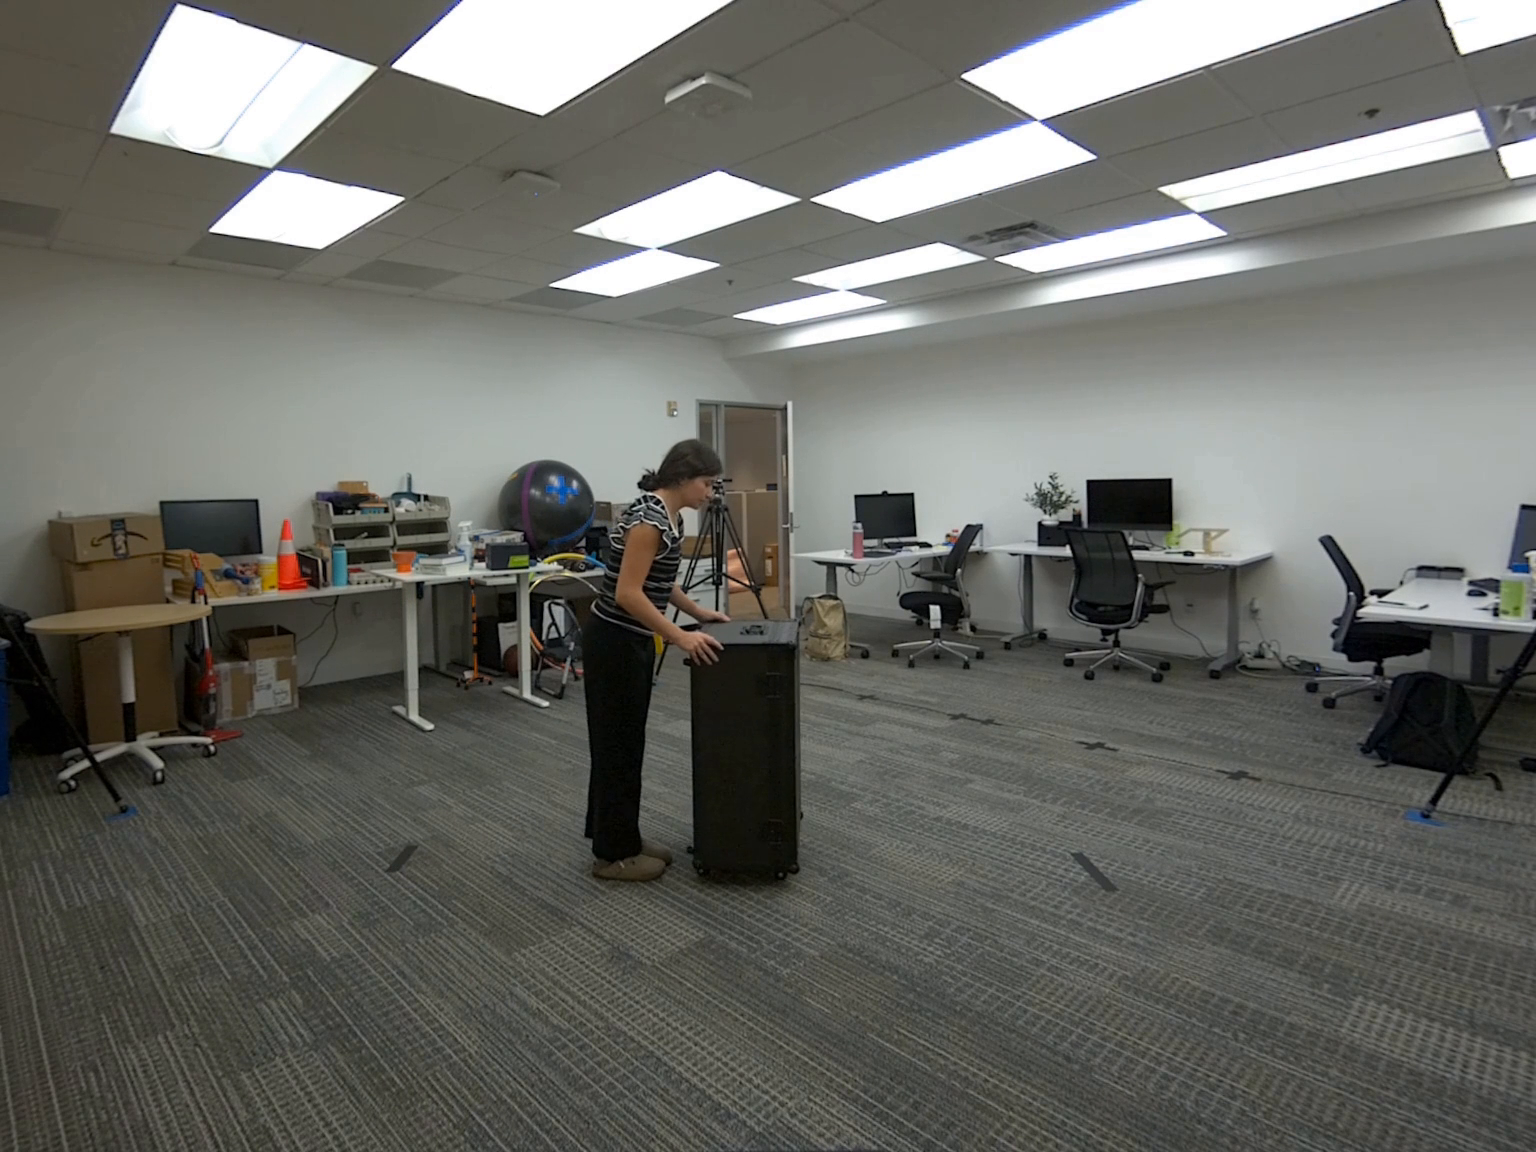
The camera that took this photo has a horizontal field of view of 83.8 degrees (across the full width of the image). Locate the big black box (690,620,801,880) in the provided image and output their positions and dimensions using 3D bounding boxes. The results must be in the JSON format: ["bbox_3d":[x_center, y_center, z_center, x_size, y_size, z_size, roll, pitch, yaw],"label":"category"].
[{"bbox_3d":[-0.074,0.621,3.102,0.399,0.858,0.520,-1,5,5],"label":"big black box"}]
